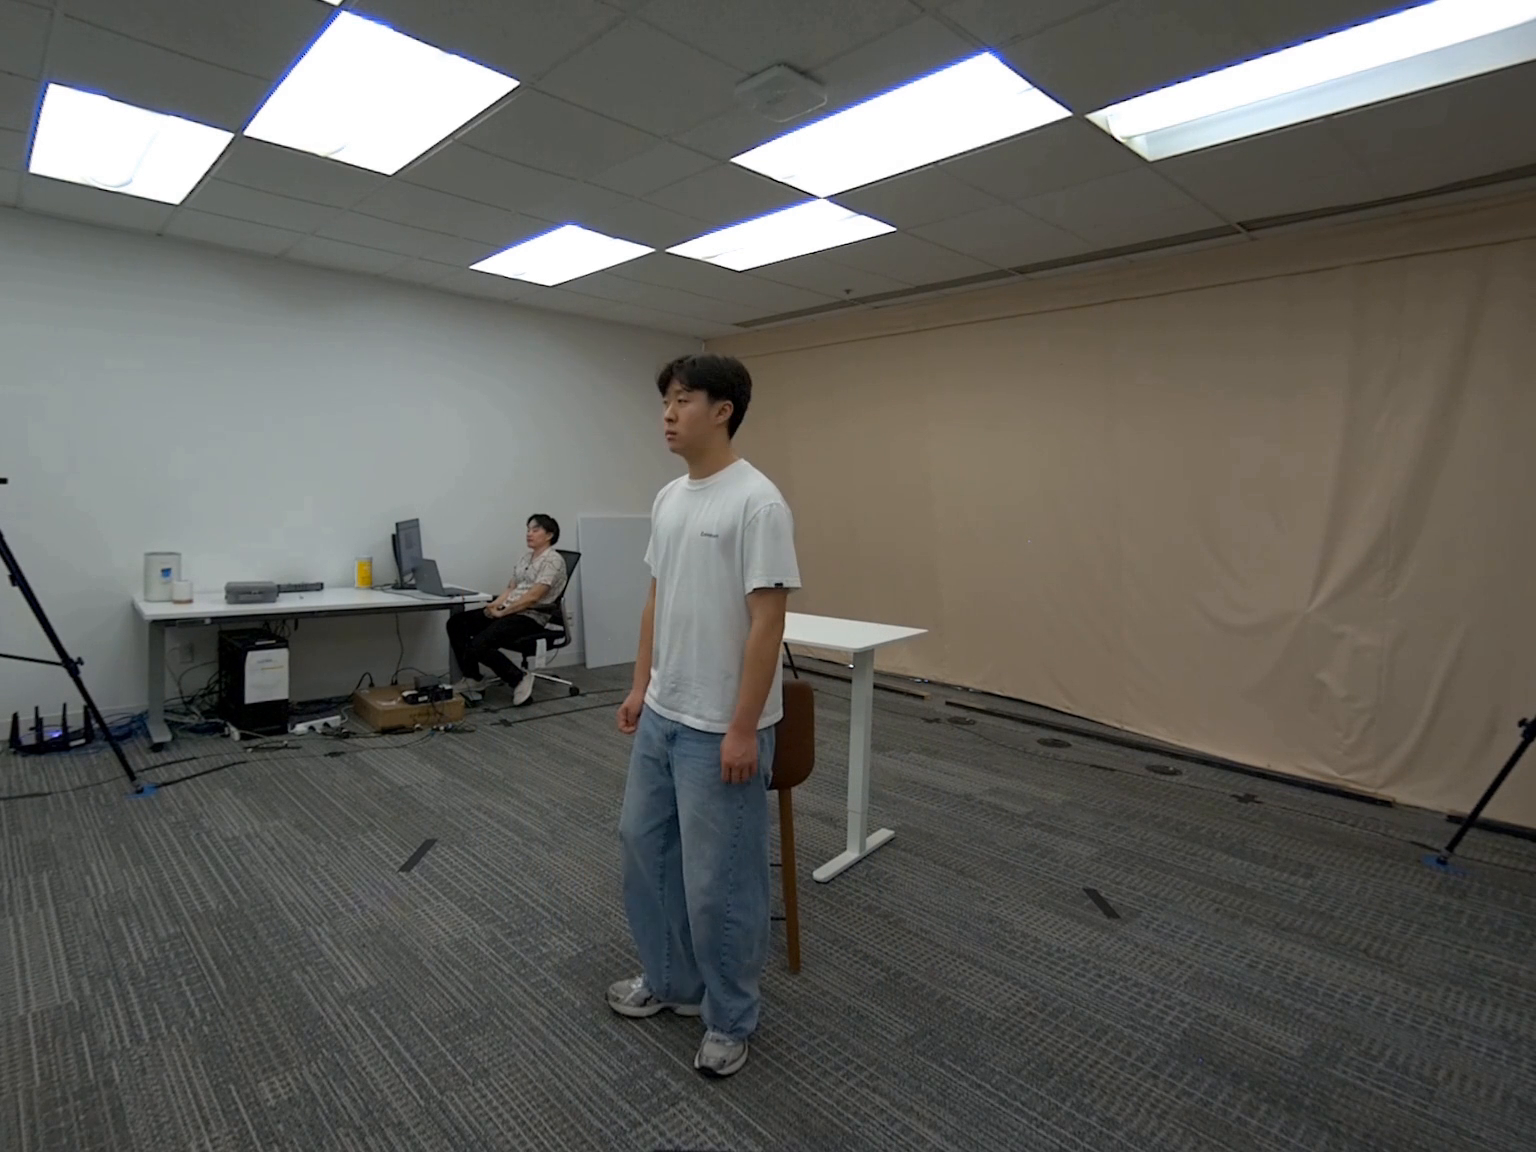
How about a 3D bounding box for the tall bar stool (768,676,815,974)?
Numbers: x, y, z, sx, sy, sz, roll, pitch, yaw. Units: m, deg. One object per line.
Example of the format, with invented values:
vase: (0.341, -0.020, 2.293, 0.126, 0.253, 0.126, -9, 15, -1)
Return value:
tall bar stool: (-0.104, 0.712, 2.661, 0.455, 0.886, 0.470, 1, 6, -3)
